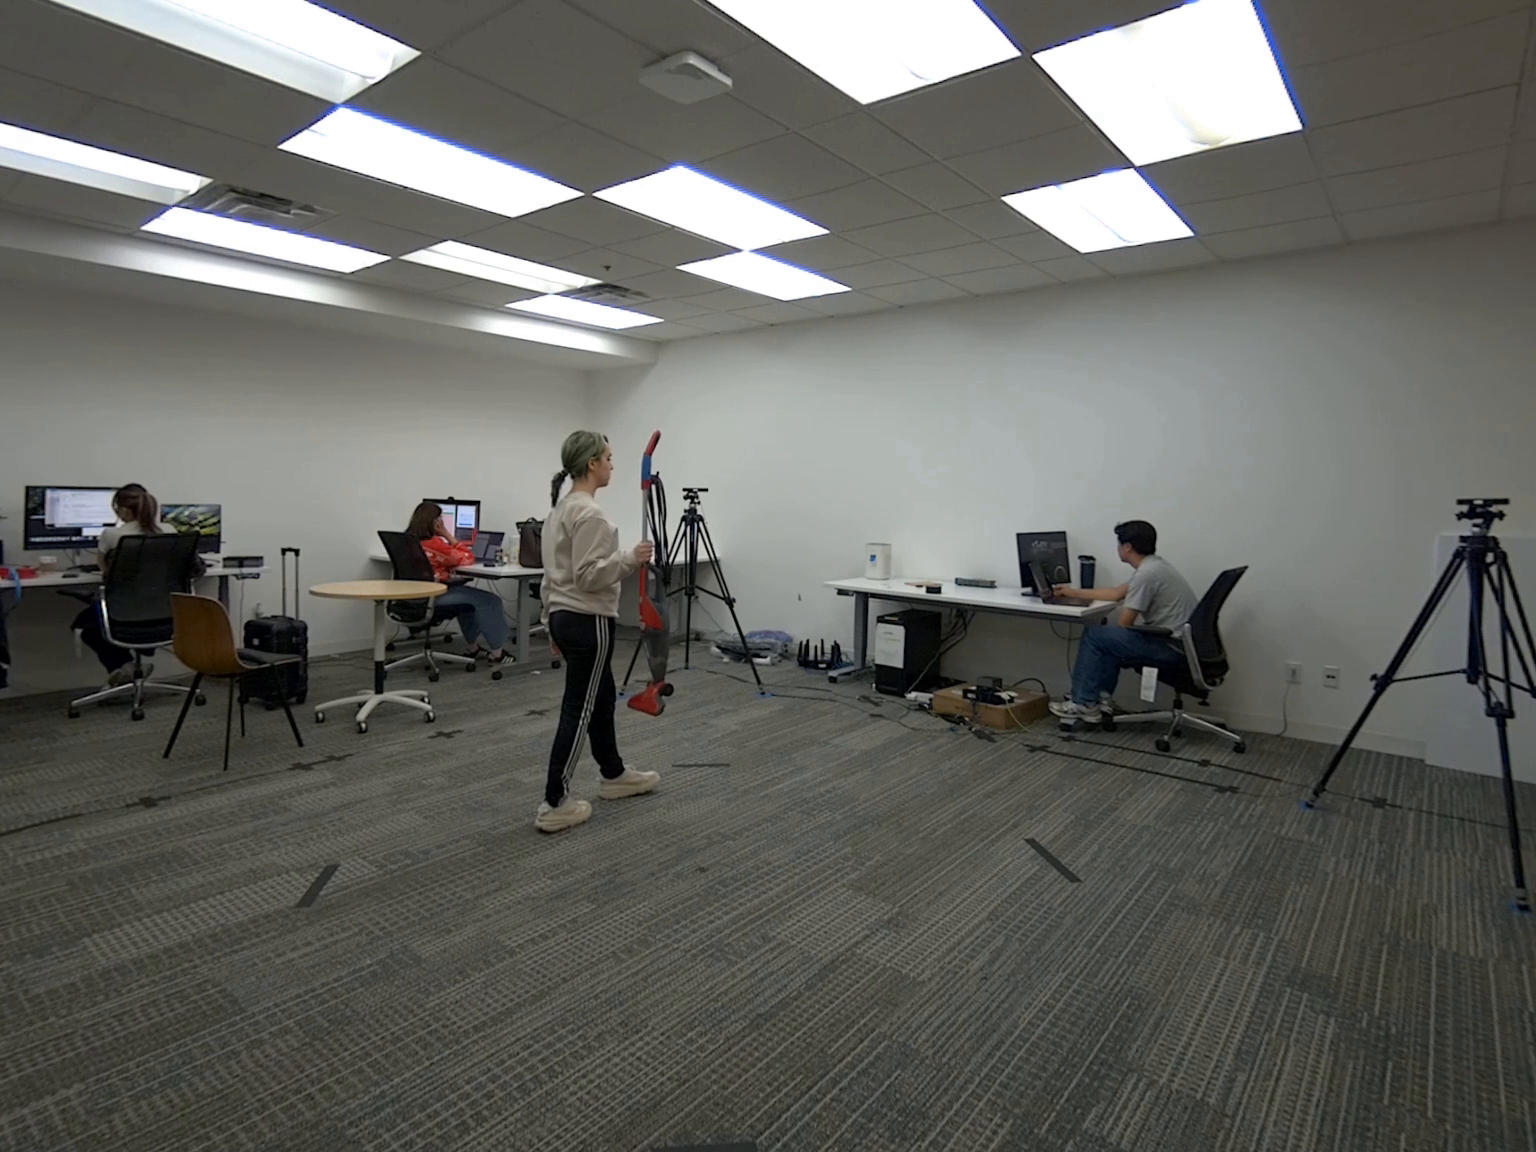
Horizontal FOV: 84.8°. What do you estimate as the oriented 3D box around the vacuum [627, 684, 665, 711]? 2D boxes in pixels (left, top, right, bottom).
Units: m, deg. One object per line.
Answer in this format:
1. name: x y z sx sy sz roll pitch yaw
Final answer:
1. vacuum: -0.459 -0.044 3.367 0.260 1.053 0.139 -2 -4 37
